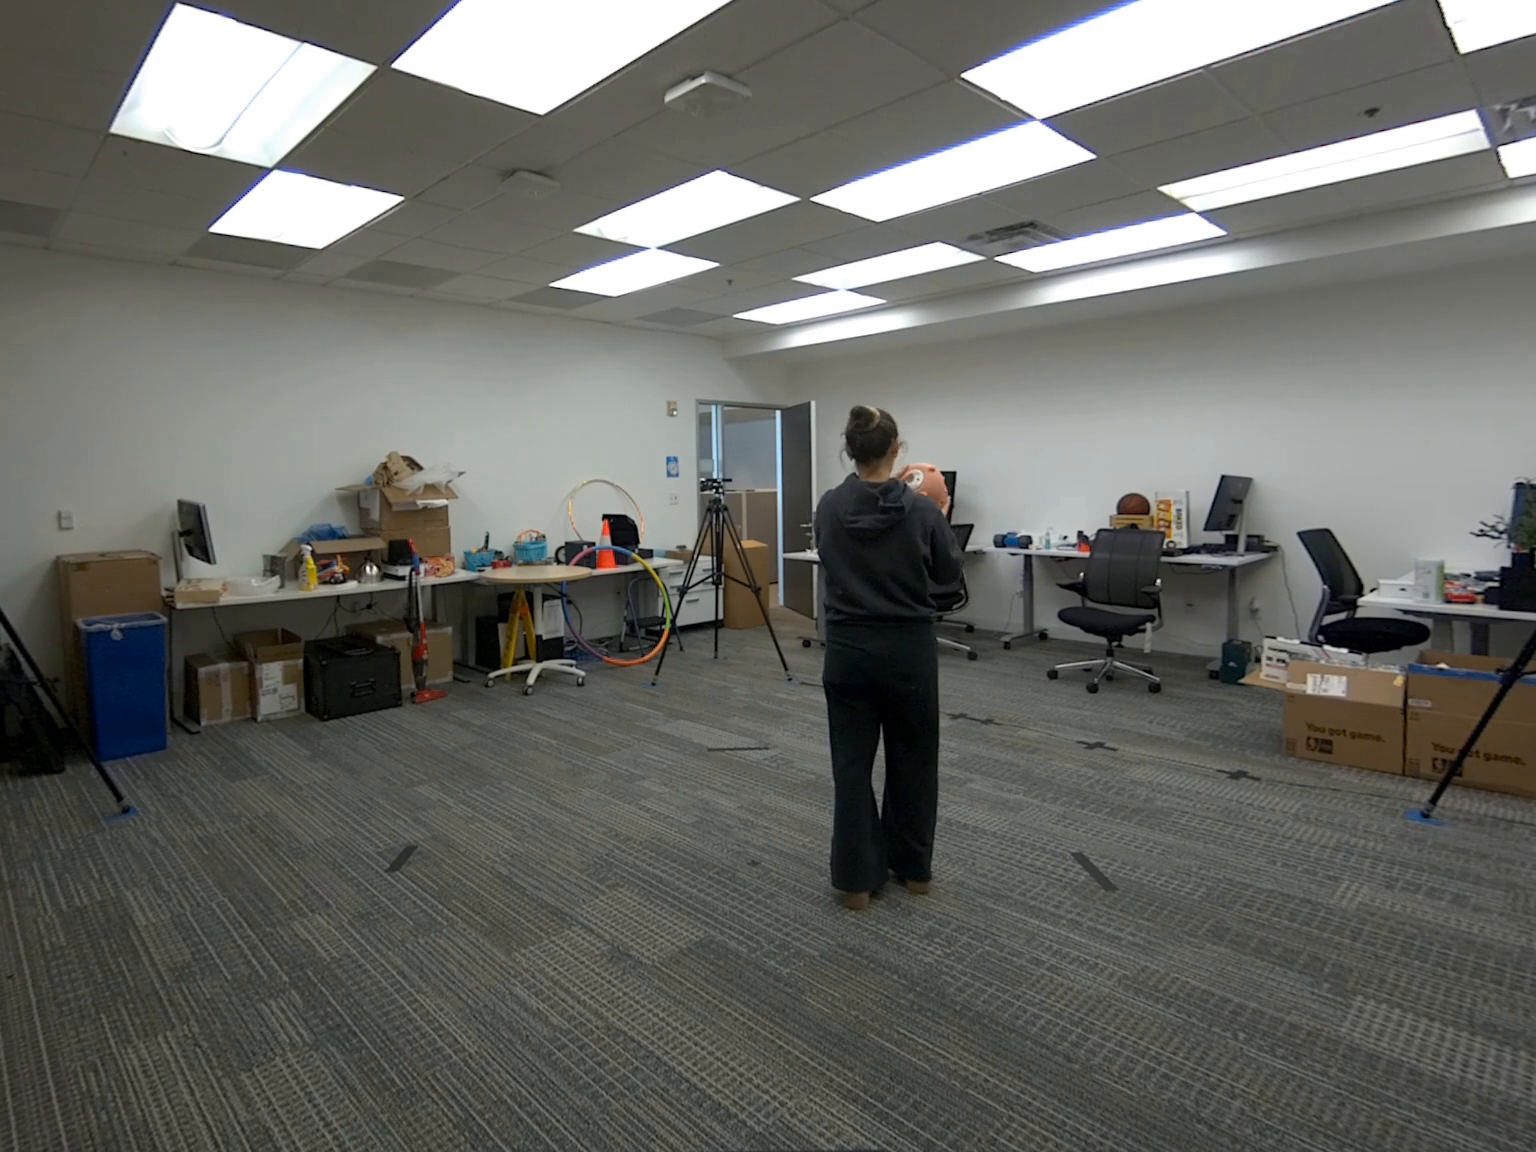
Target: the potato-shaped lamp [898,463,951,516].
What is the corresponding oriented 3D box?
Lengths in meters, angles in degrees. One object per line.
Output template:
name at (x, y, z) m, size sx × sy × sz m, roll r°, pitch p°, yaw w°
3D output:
potato-shaped lamp at (0.563, -0.304, 3.045) m, size 0.177 × 0.165 × 0.190 m, roll 10°, pitch -17°, yaw 47°
